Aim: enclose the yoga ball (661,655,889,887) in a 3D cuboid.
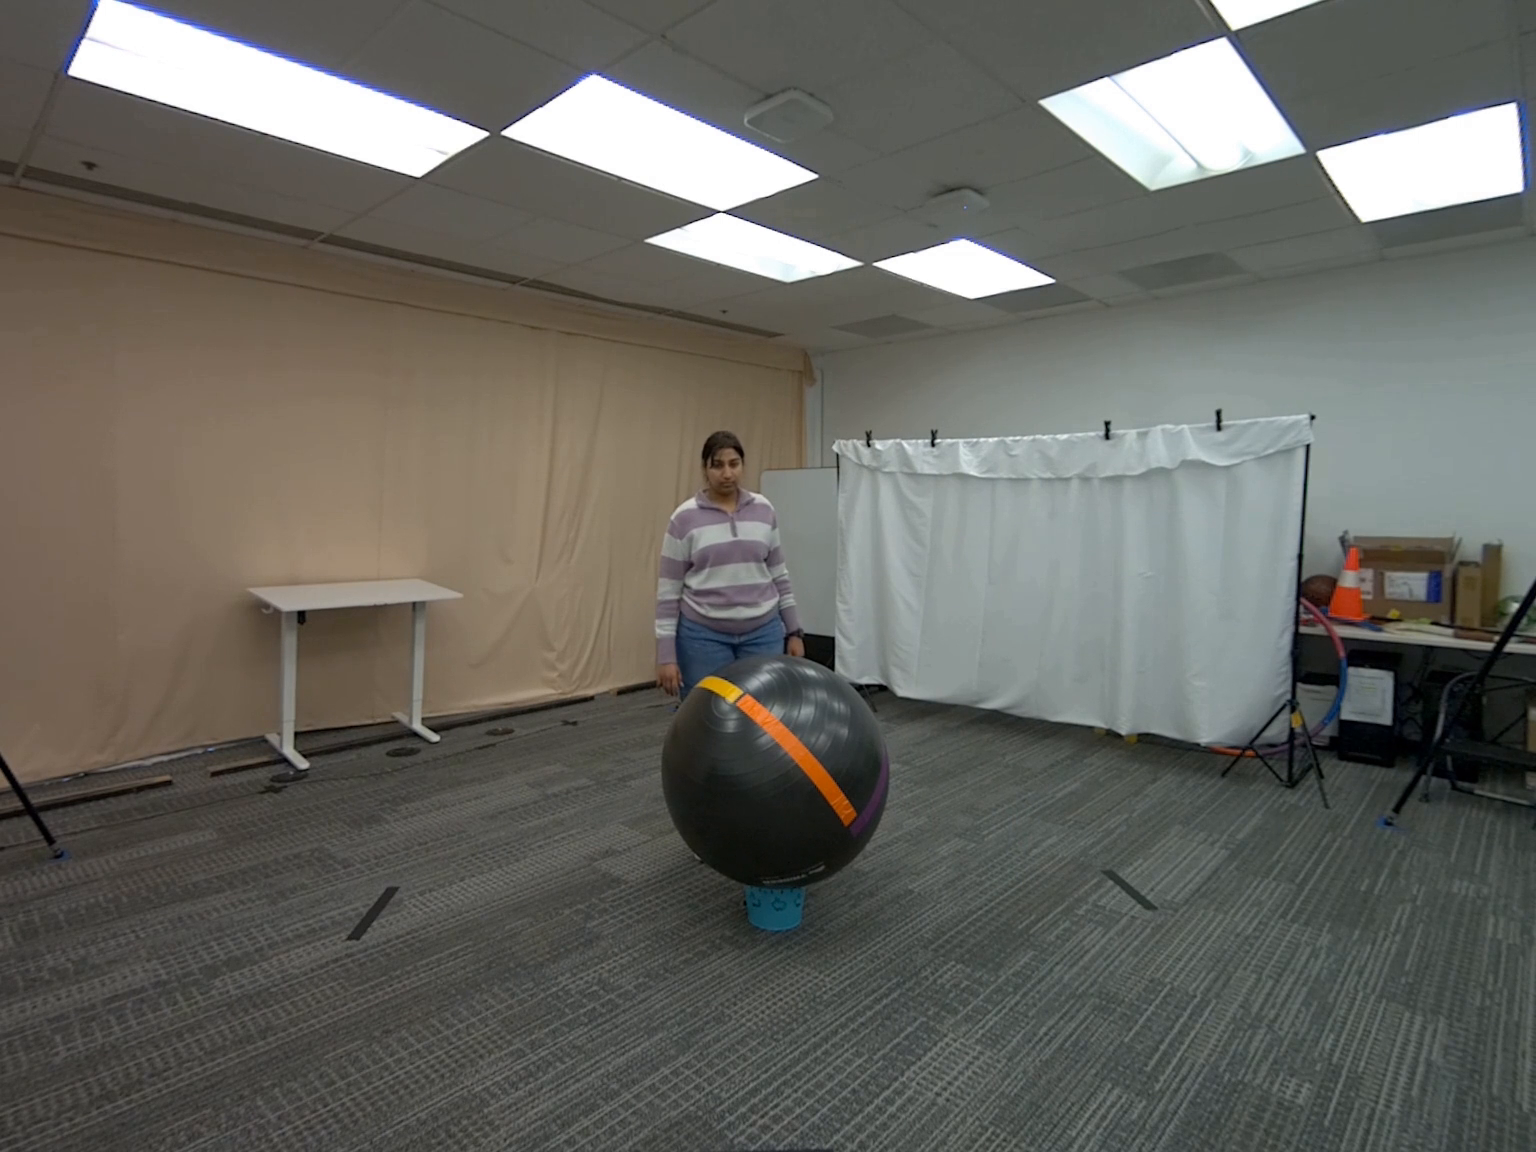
[{"bbox_3d":[0.029,0.640,2.828,0.757,0.756,0.760,0,4,-2],"label":"yoga ball"}]
